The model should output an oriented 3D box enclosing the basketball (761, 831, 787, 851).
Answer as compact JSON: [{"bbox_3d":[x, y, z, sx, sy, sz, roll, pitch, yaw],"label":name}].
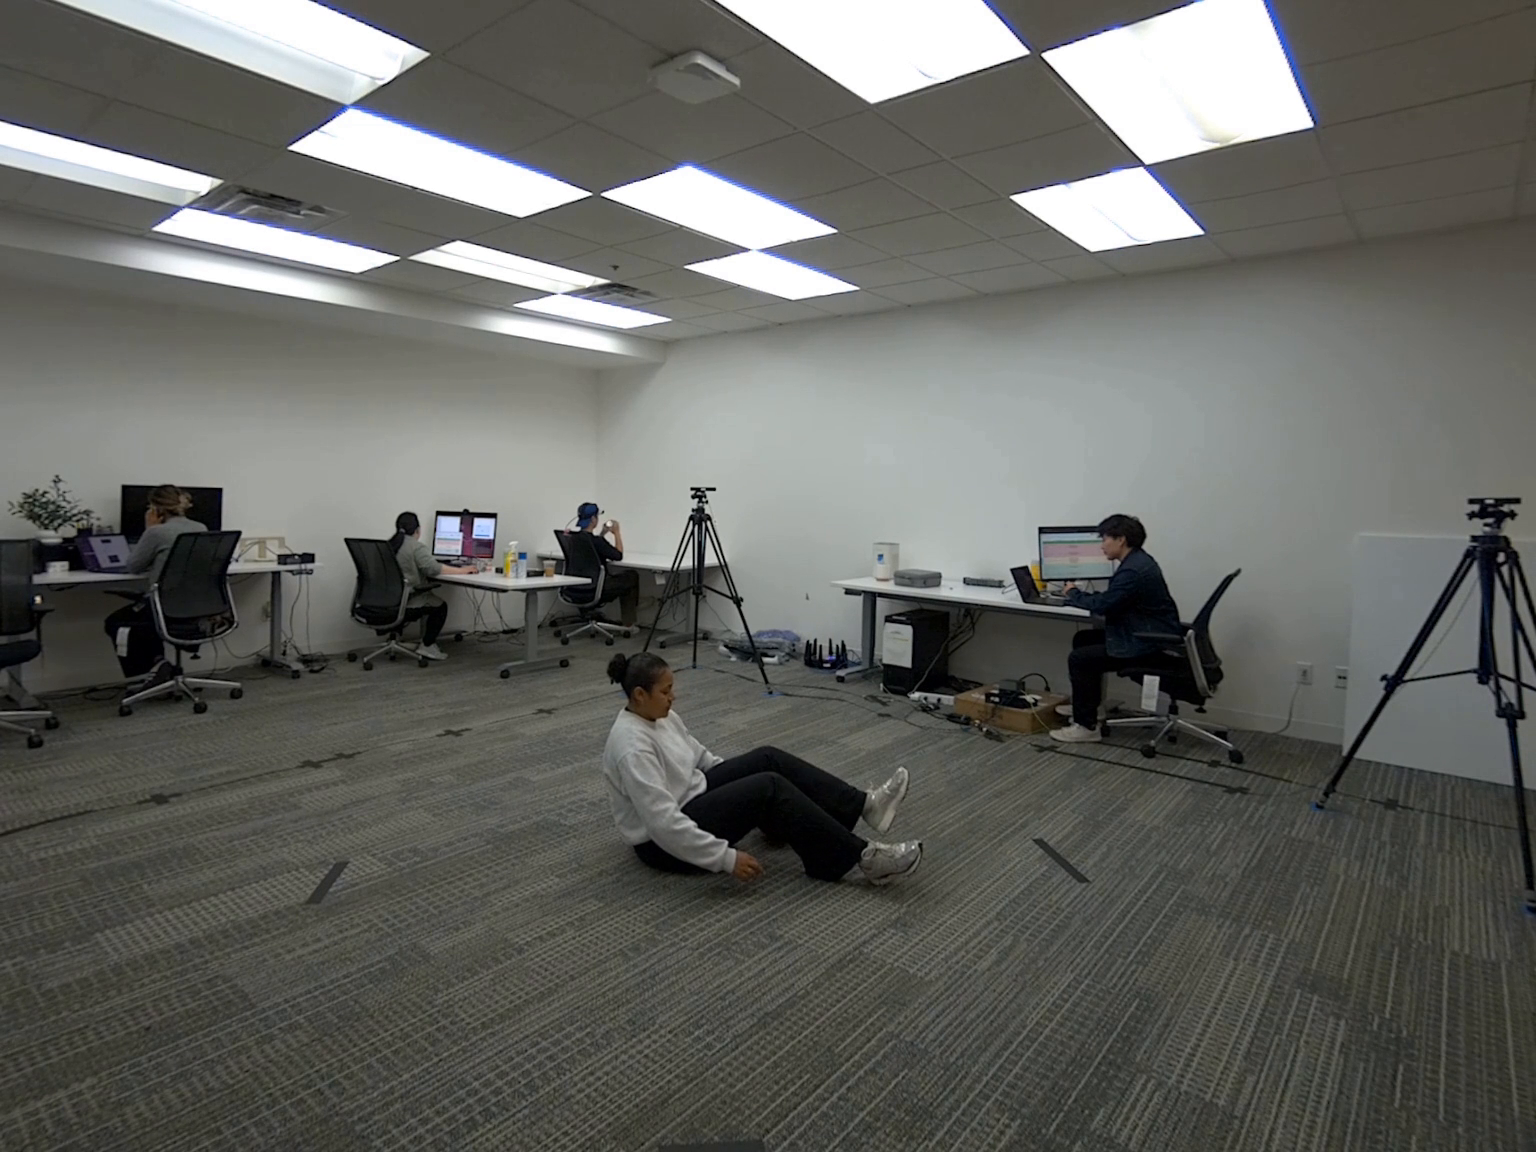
[{"bbox_3d":[0.042,0.920,3.394,0.235,0.235,0.237,1,4,-2],"label":"basketball"}]
